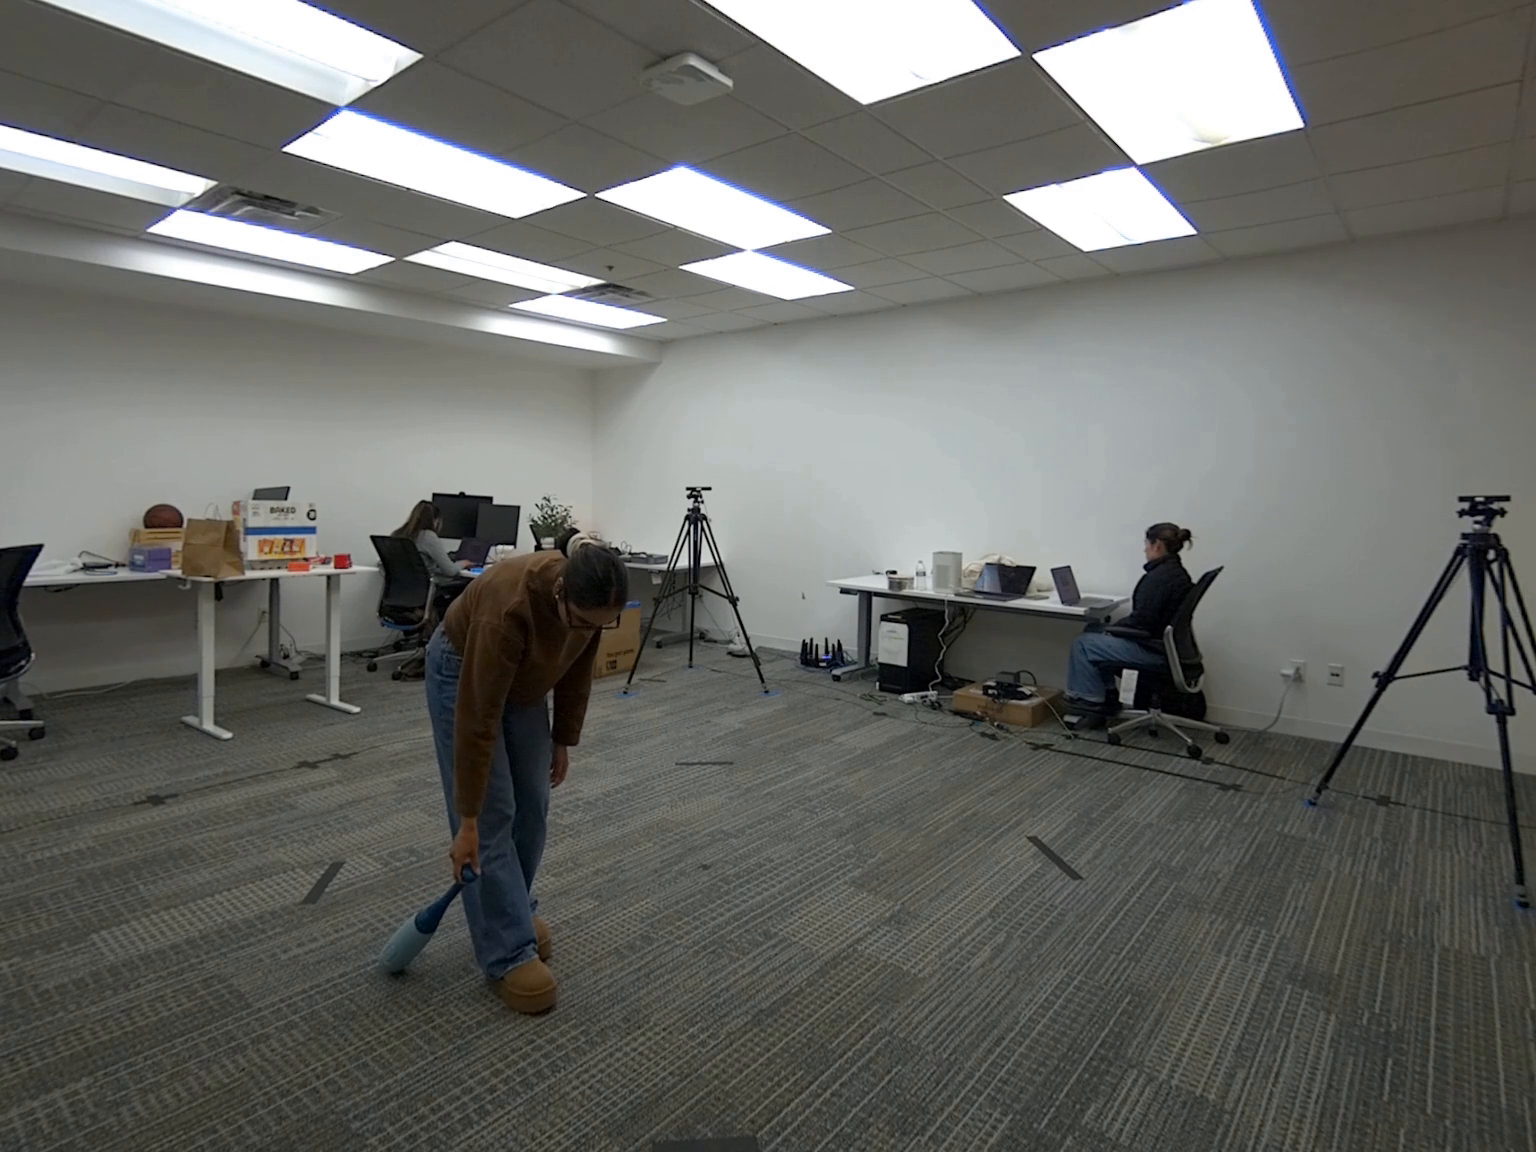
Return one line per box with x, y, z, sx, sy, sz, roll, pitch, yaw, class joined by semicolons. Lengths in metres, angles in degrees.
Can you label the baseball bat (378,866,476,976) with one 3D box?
-0.932;0.933;2.300;0.086;0.092;0.543;-4;-35;-51;baseball bat
